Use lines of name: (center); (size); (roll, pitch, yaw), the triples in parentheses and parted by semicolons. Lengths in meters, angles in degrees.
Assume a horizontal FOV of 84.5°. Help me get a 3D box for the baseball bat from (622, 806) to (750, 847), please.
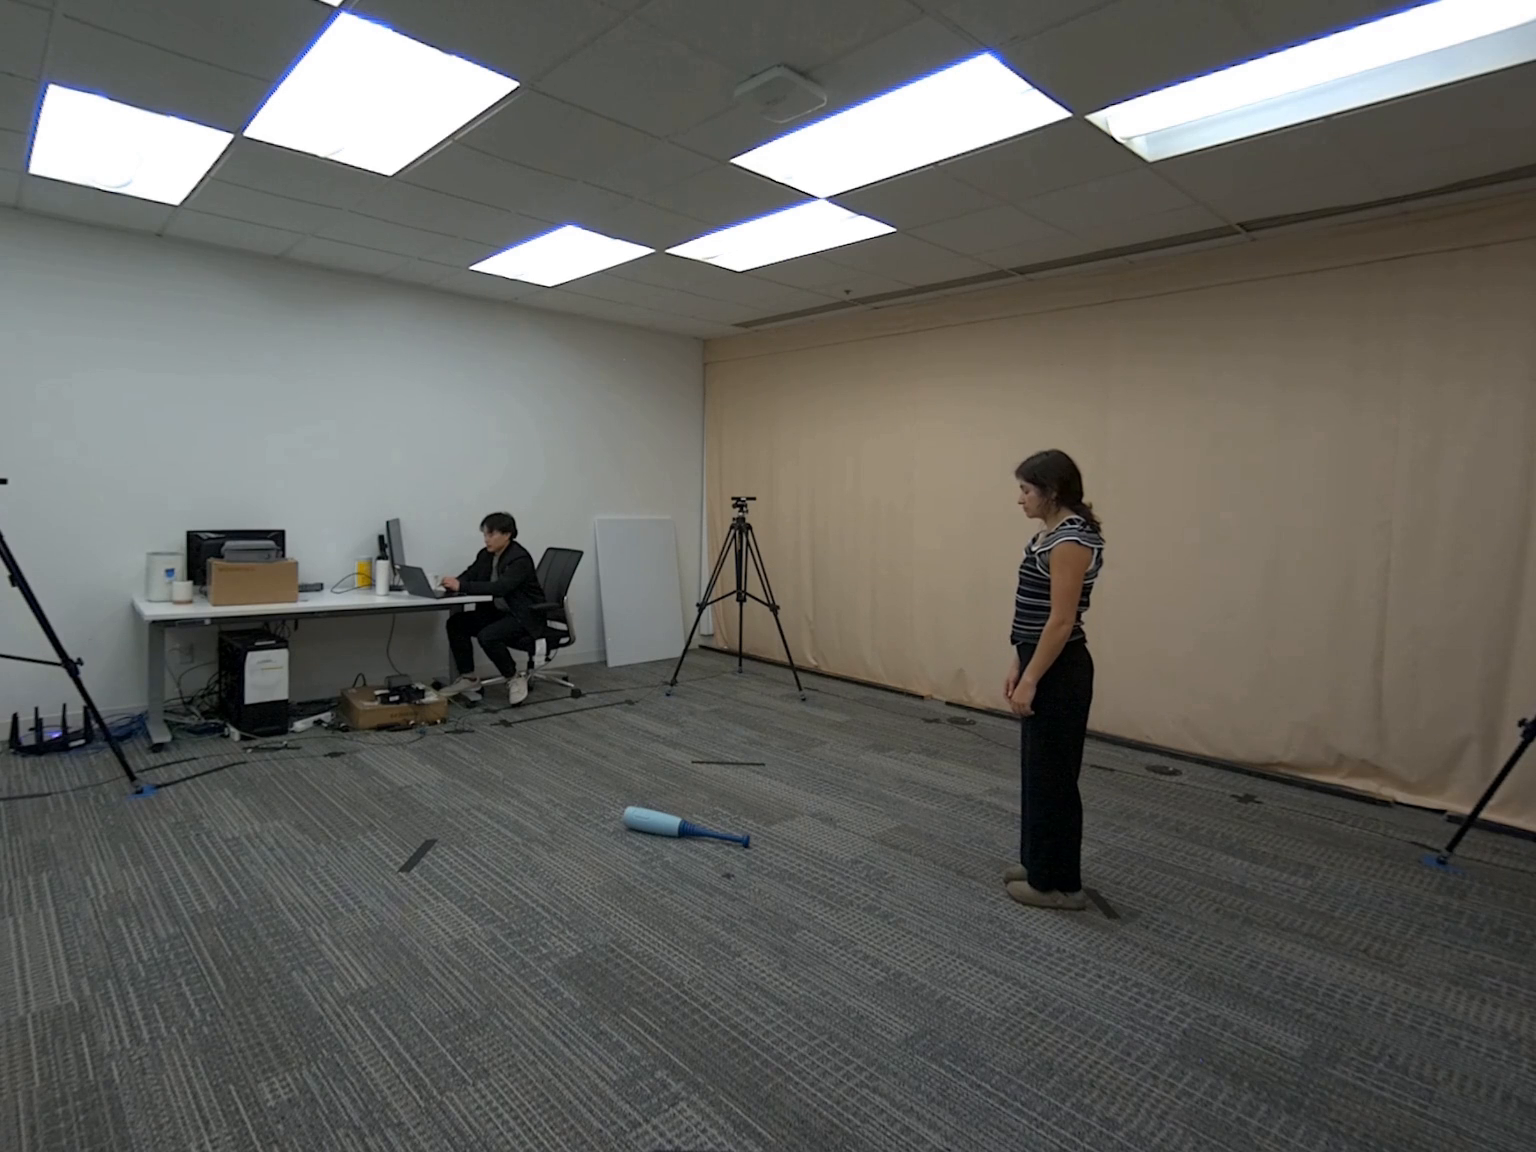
baseball bat: (-0.342, 1.032, 3.443); (0.551, 0.089, 0.088); (6, 5, 17)
